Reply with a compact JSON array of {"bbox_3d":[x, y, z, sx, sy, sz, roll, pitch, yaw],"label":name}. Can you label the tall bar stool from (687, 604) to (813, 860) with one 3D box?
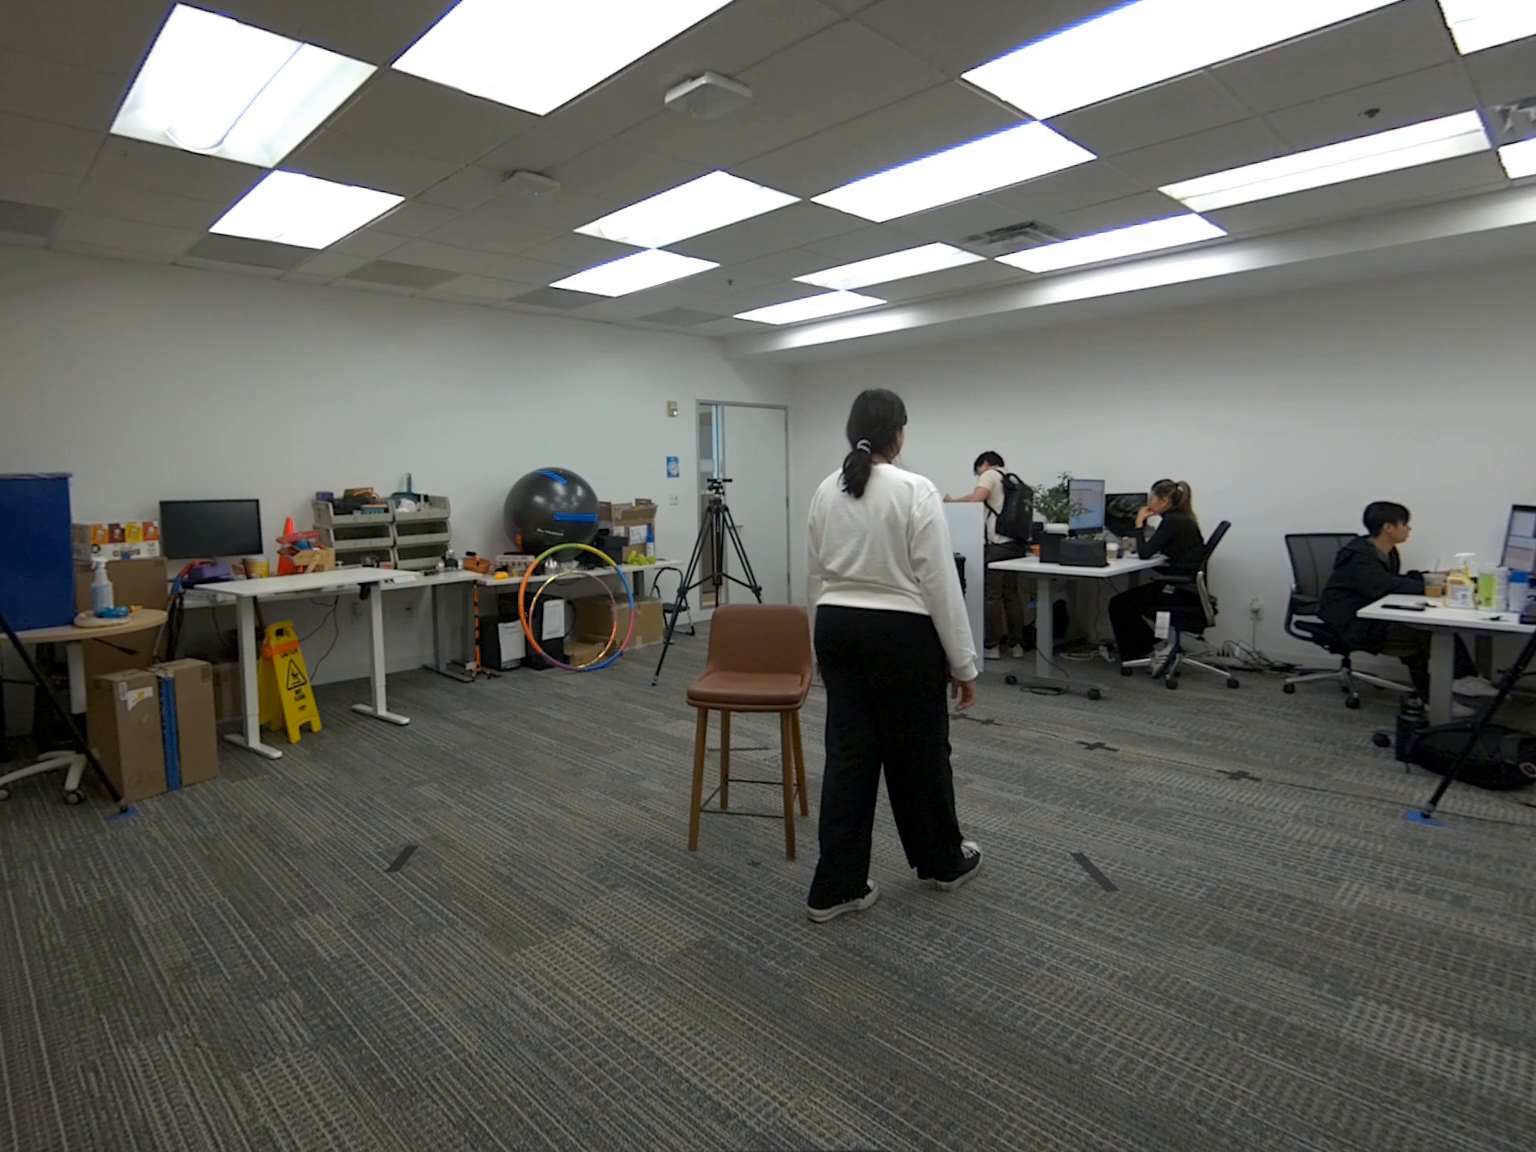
[{"bbox_3d":[-0.063,0.582,3.372,0.463,0.888,0.462,0,2,14],"label":"tall bar stool"}]
